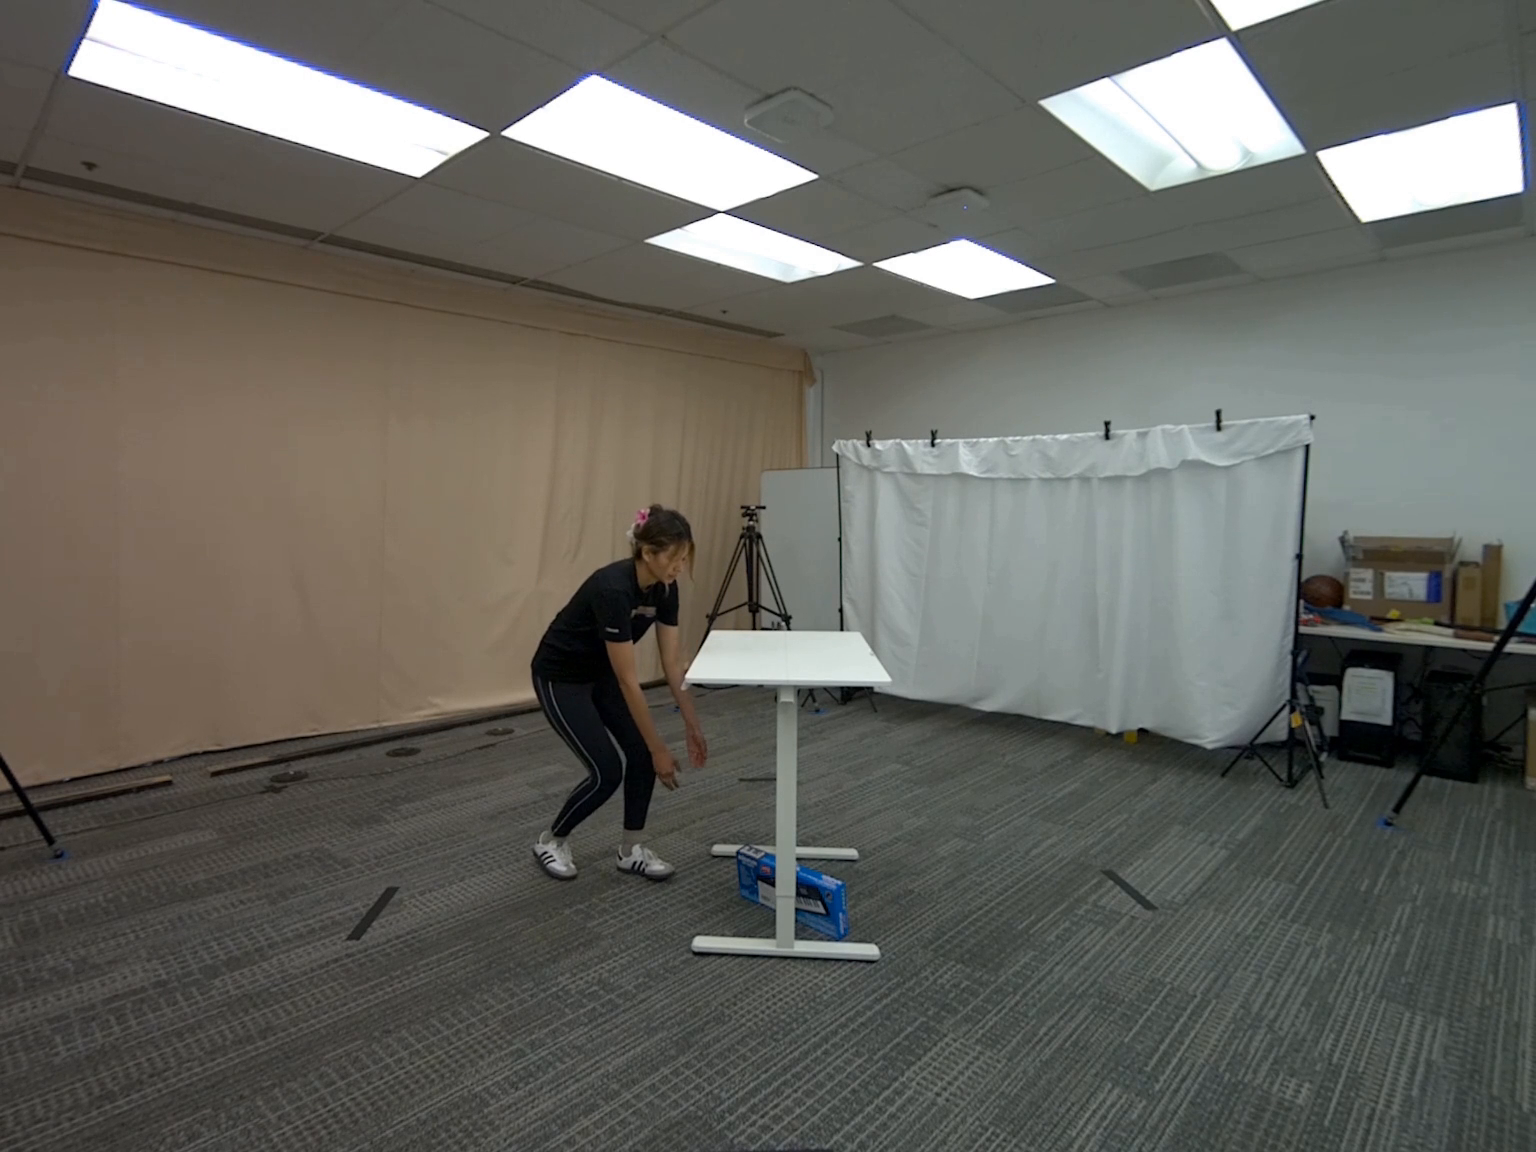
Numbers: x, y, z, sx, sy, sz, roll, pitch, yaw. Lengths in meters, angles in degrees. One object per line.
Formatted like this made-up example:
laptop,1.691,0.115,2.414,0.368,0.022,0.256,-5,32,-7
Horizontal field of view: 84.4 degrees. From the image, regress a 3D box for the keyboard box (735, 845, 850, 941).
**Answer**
keyboard box,0.078,1.066,2.860,0.451,0.175,0.057,4,12,43
